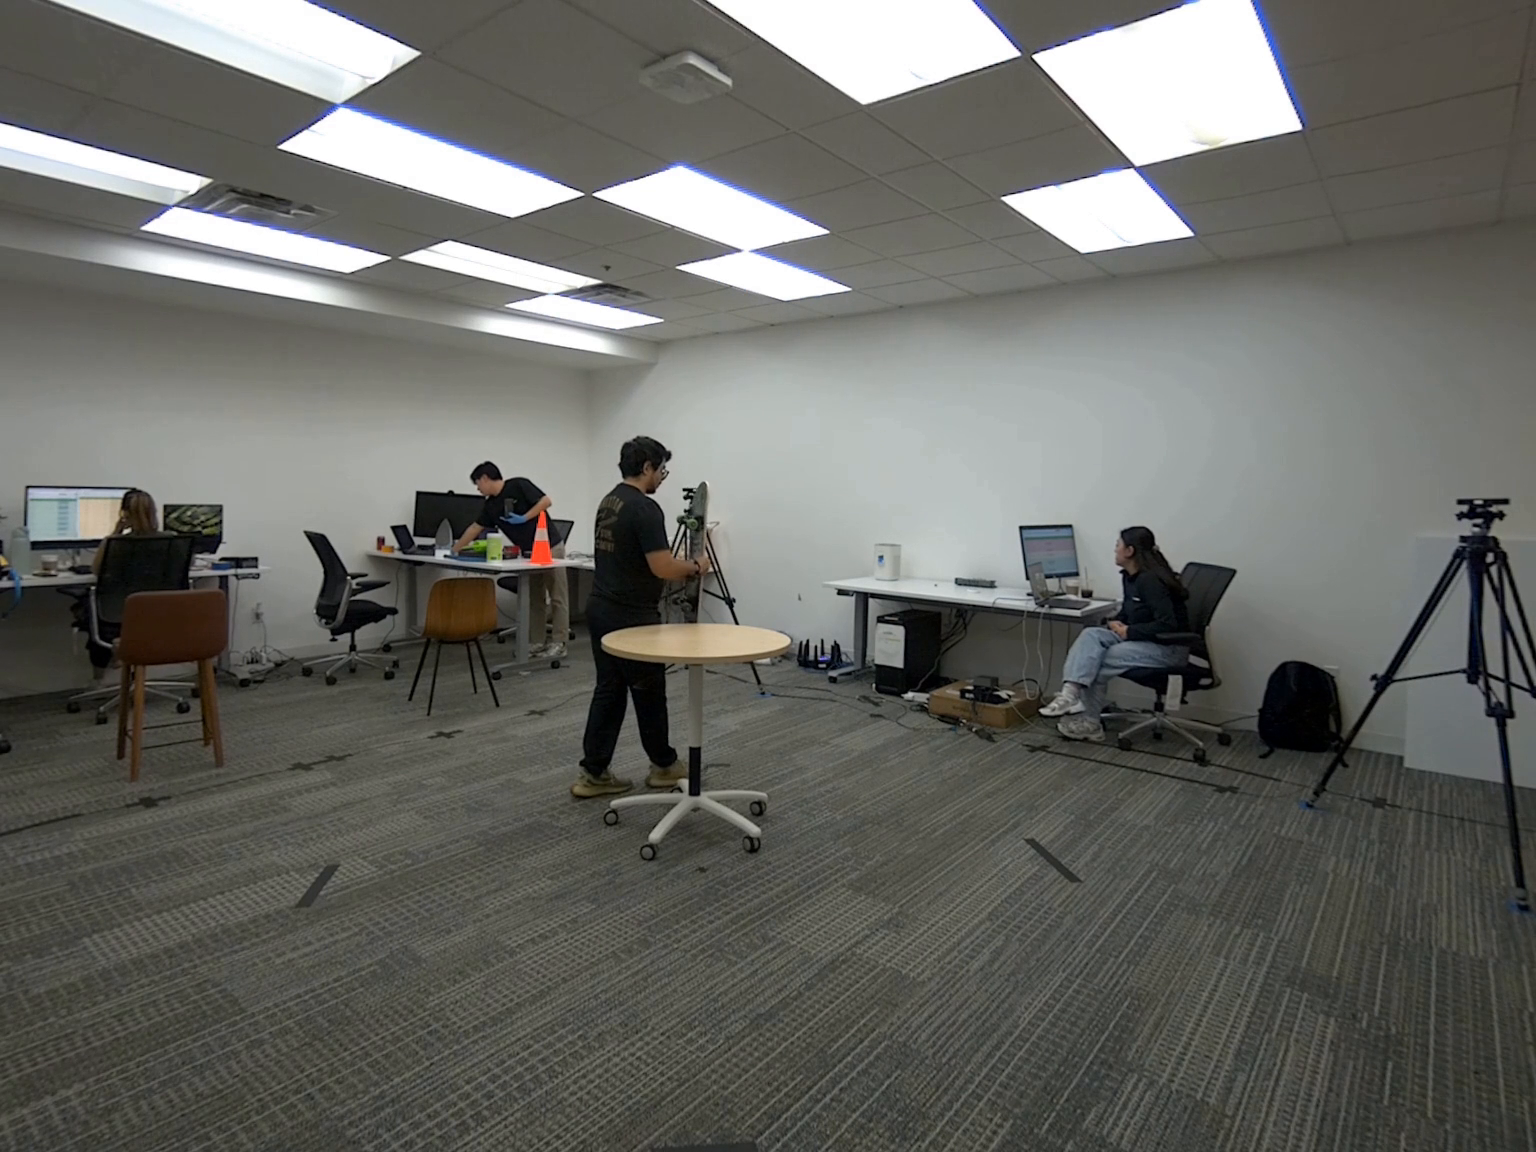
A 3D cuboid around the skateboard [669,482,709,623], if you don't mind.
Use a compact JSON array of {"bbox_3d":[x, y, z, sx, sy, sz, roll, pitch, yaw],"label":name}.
[{"bbox_3d":[-0.386,-0.071,4.081,0.107,0.779,0.200,0,10,-27],"label":"skateboard"}]
